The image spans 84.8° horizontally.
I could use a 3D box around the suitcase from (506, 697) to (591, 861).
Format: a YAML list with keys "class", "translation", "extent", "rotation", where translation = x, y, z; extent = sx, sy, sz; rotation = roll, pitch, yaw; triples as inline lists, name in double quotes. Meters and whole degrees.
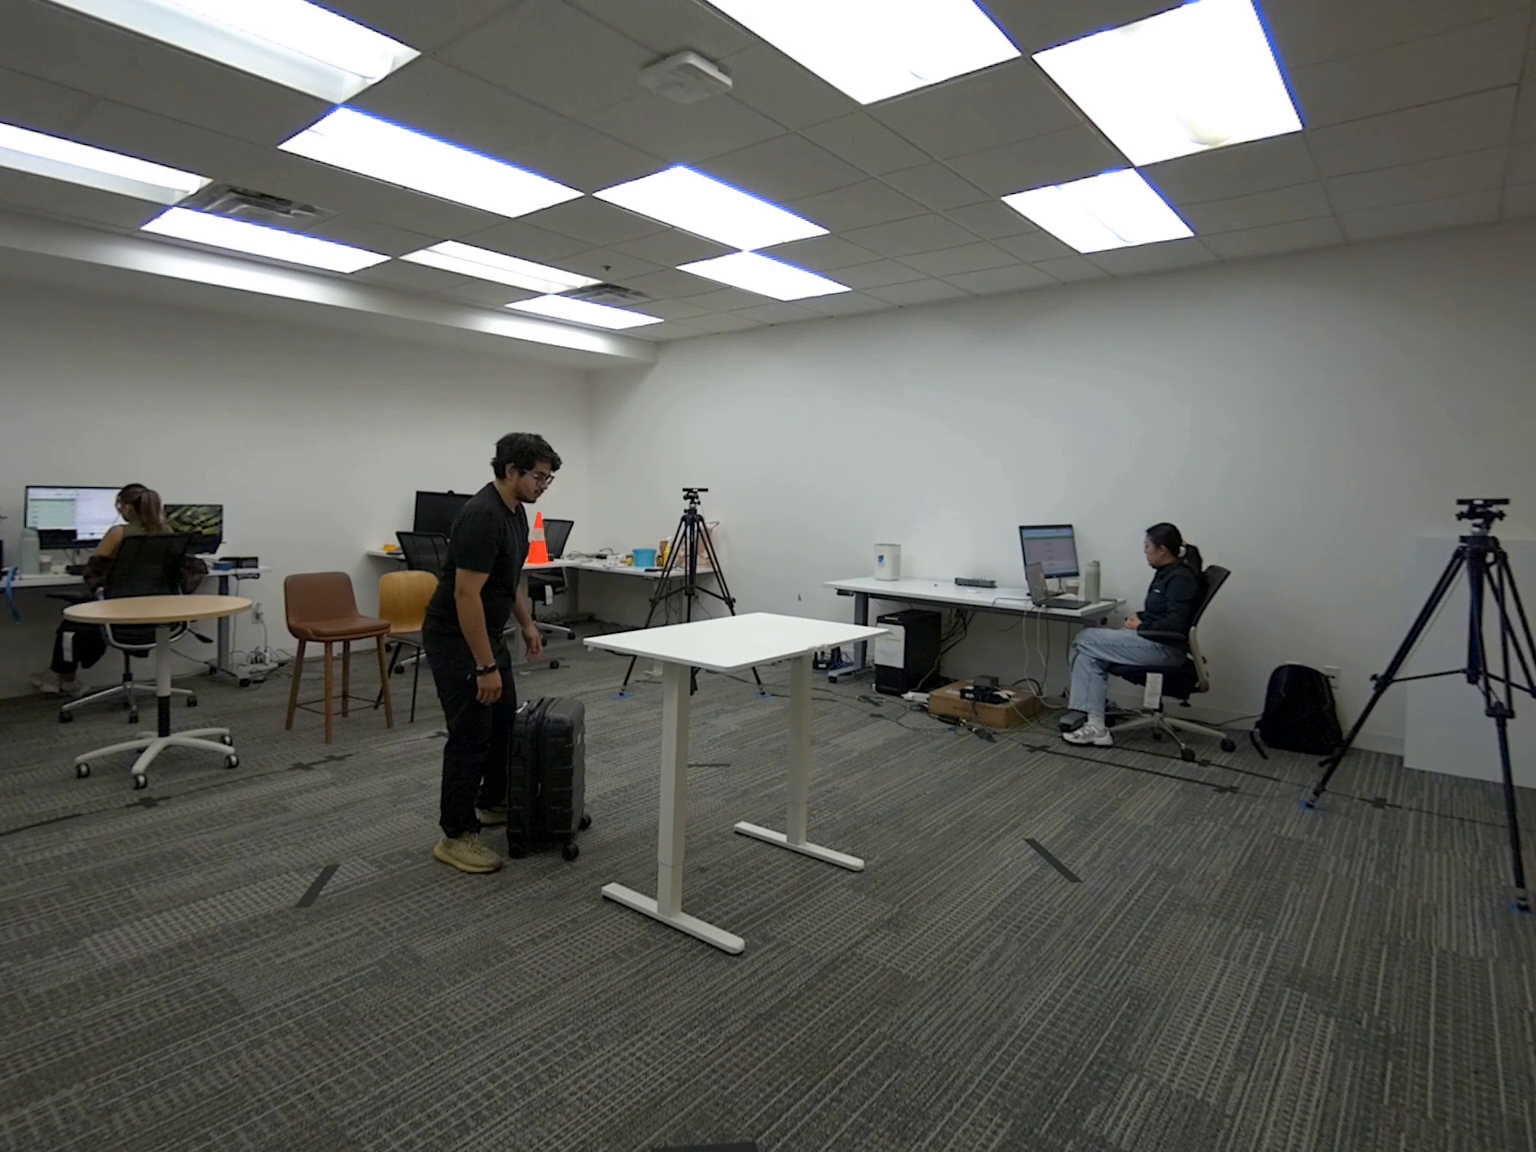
- class: "suitcase"
  translation: [-0.875, 0.765, 3.326]
  extent: [0.248, 0.548, 0.376]
  rotation: [0, 3, -1]
